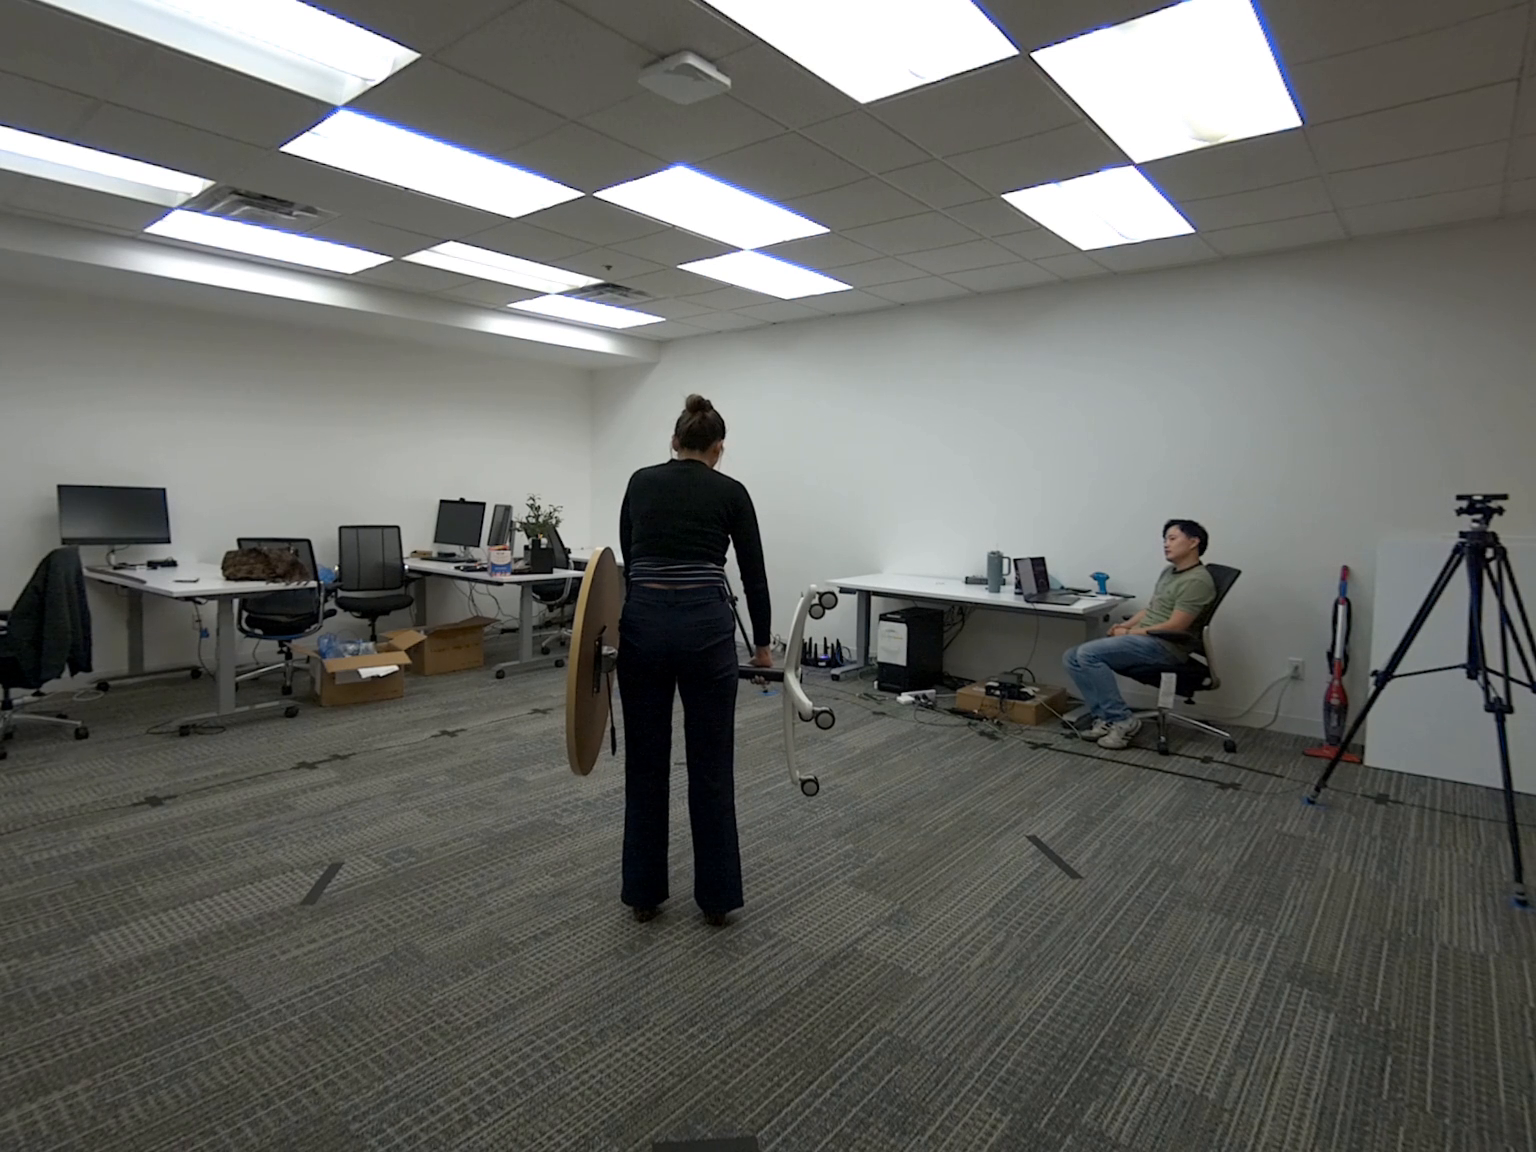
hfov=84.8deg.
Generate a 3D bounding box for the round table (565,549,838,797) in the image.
[{"bbox_3d":[-0.209,0.319,2.874,0.795,0.761,0.766,5,4,0],"label":"round table"}]
